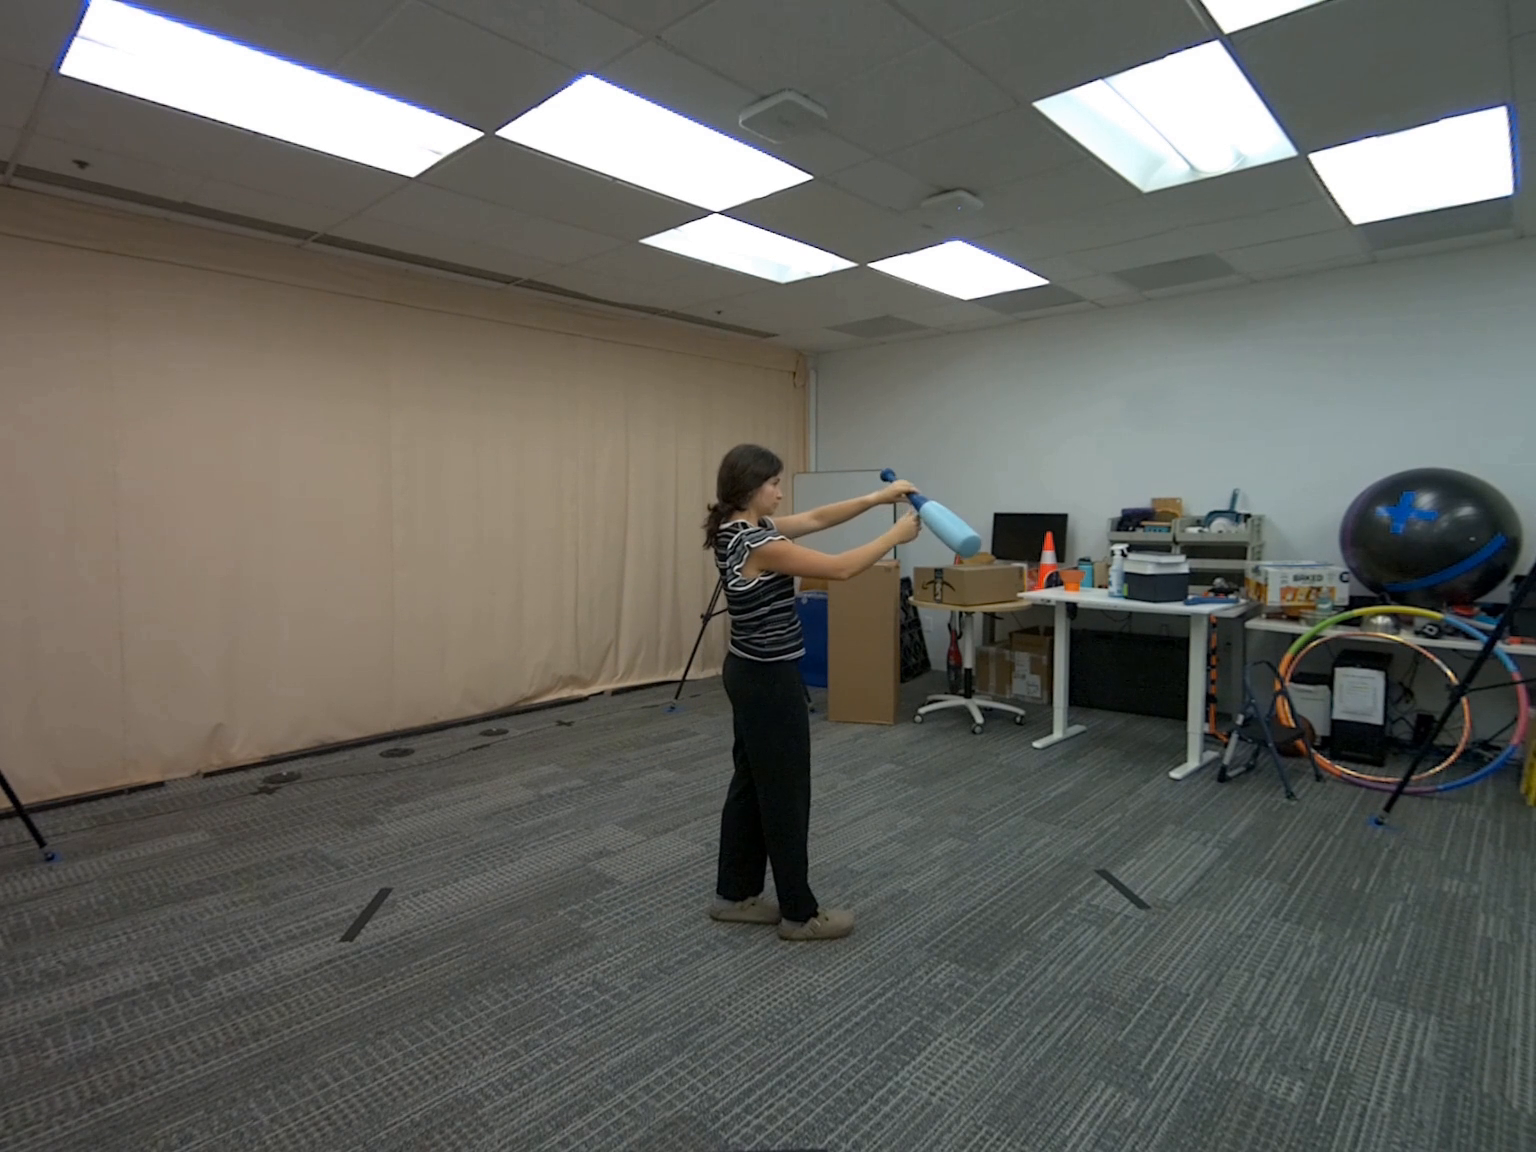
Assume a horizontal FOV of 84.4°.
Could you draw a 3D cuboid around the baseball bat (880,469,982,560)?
[{"bbox_3d":[0.518,-0.216,2.730,0.087,0.088,0.560,-2,30,-23],"label":"baseball bat"}]
